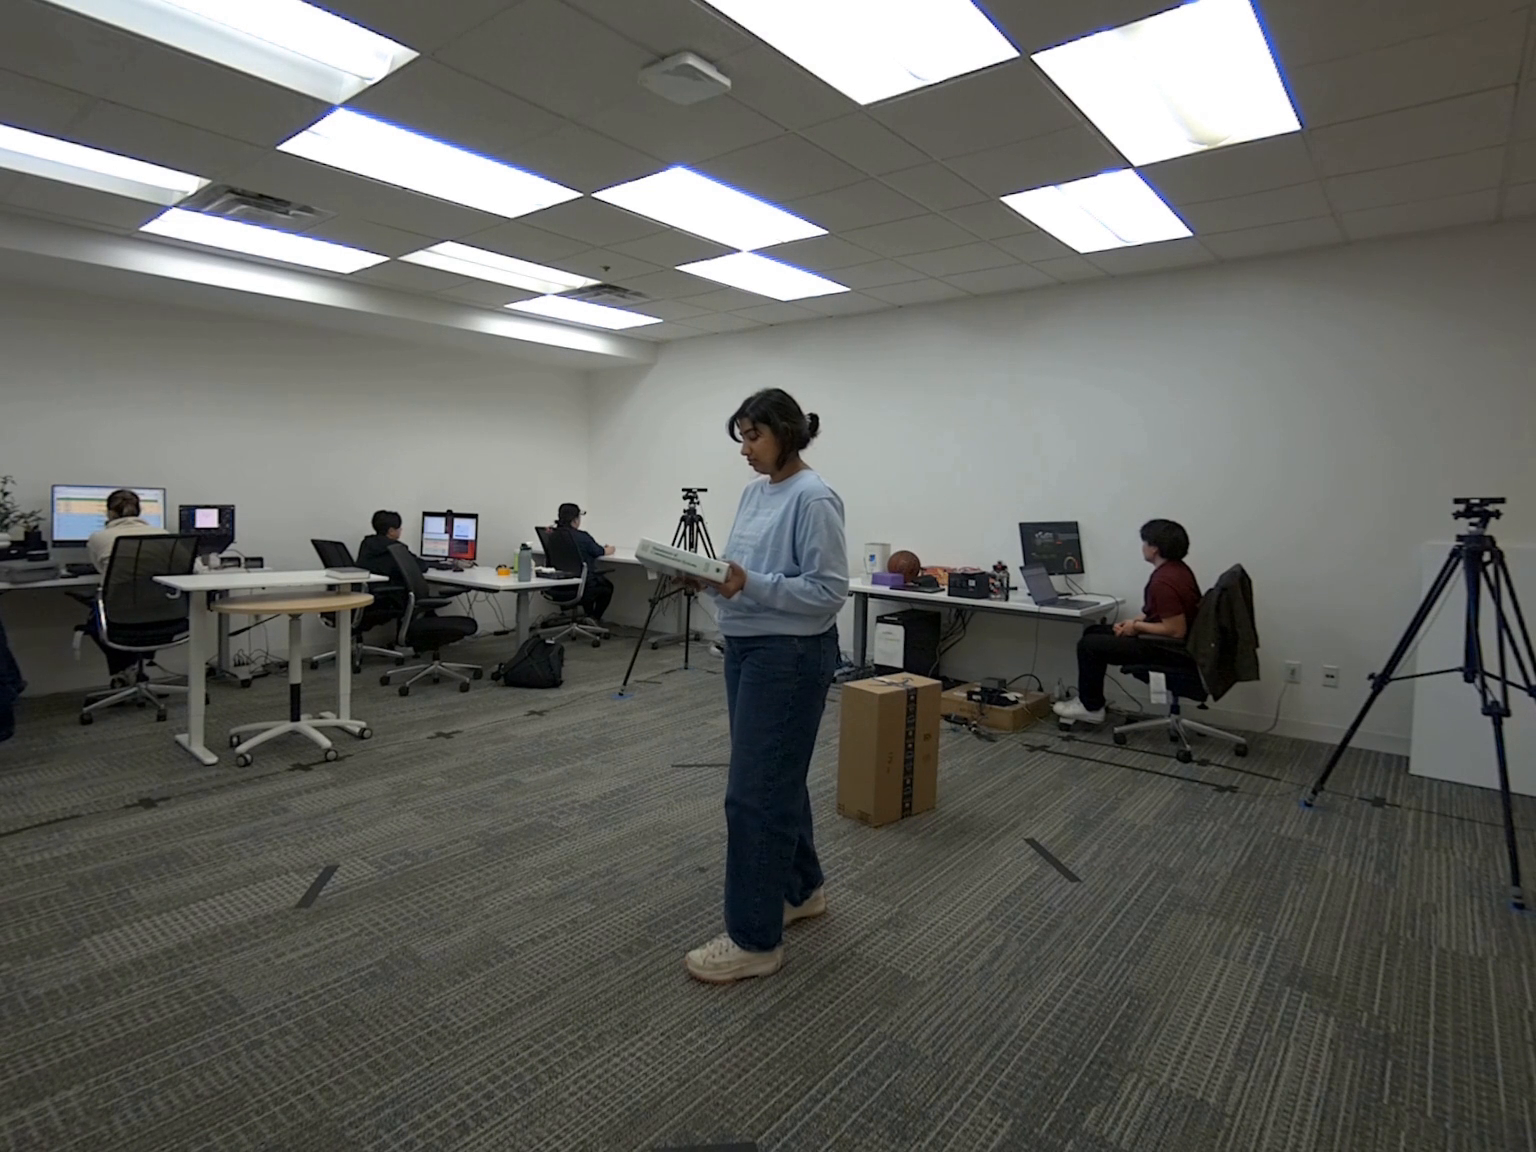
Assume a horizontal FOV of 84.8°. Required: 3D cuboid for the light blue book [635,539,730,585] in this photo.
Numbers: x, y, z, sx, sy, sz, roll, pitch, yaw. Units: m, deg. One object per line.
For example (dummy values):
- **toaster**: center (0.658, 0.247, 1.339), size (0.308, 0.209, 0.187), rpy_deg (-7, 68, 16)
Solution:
- **light blue book**: center (-0.236, -0.033, 2.427), size (0.264, 0.059, 0.188), rpy_deg (17, -8, 8)
